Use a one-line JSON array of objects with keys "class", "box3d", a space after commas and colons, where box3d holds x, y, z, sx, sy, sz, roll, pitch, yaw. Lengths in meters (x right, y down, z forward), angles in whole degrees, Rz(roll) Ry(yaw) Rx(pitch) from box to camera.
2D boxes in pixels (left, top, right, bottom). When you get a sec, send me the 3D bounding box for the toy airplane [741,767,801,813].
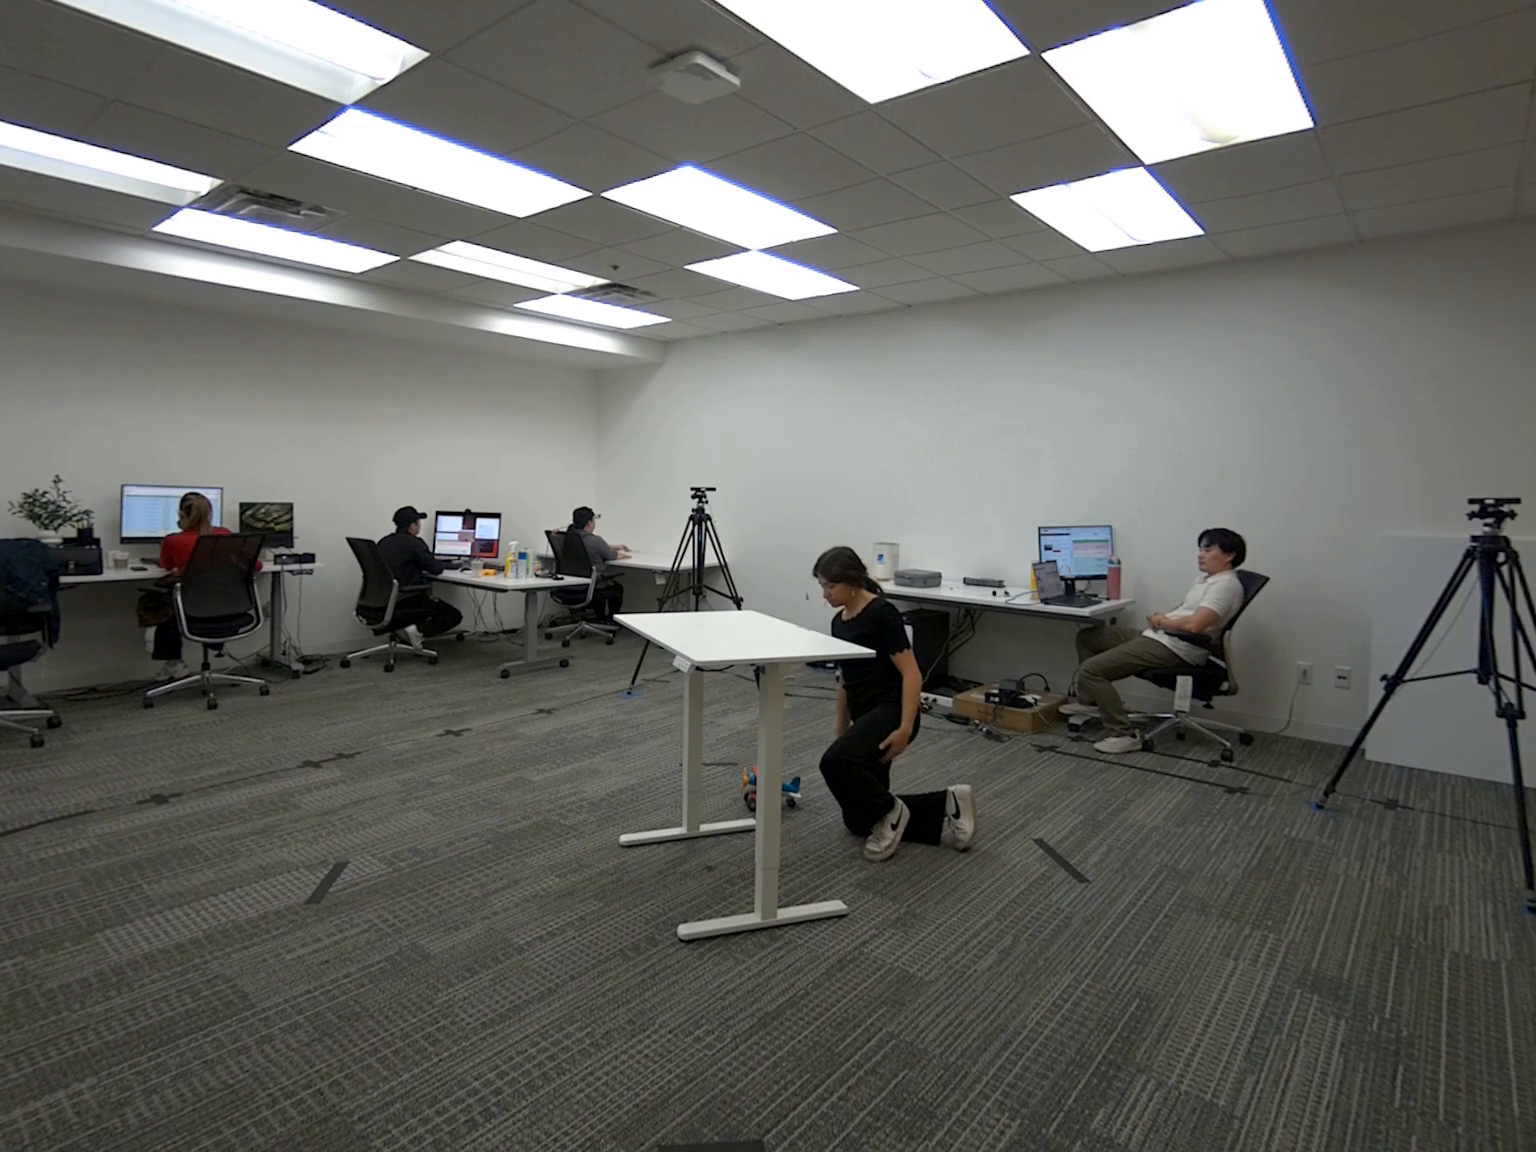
[{"class": "toy airplane", "box3d": [-0.004, 0.933, 3.762, 0.252, 0.156, 0.259, -3, 5, -37]}]
